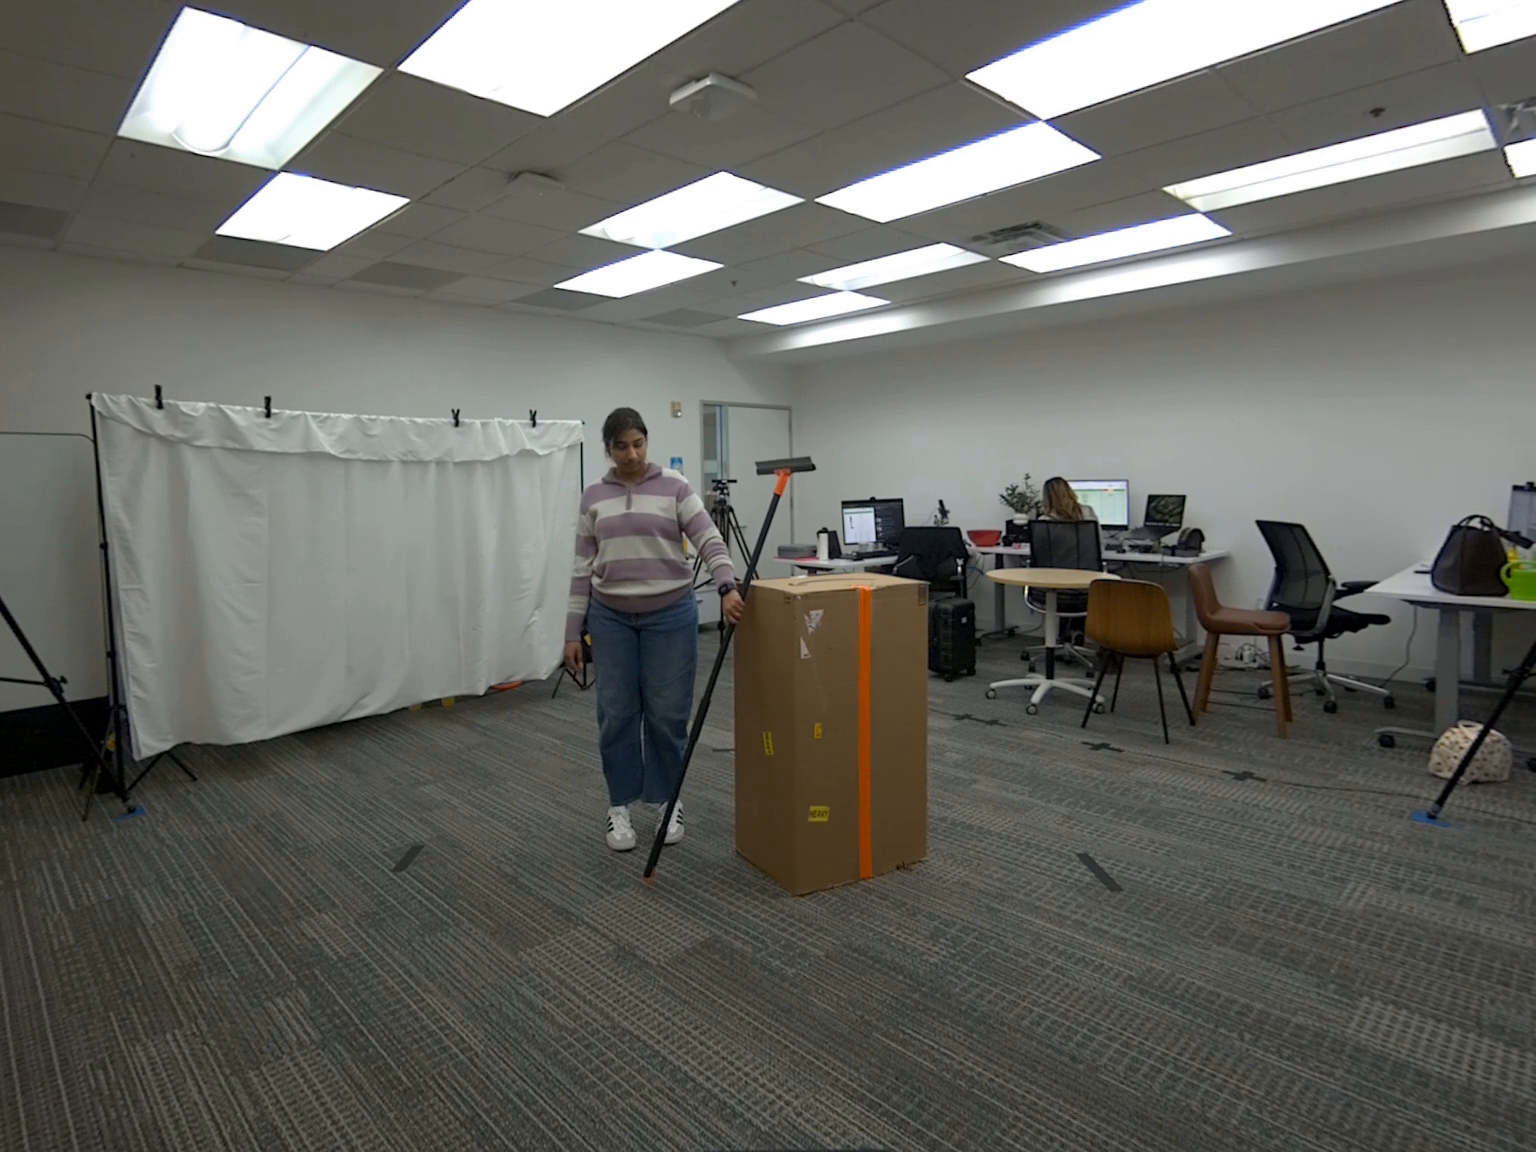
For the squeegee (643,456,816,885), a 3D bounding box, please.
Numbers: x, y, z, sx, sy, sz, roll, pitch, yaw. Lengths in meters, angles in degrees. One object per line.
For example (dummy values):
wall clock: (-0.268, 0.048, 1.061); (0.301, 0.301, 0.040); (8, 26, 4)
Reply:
squeegee: (-0.180, 0.311, 2.984); (0.051, 1.544, 0.448); (21, -8, -26)
